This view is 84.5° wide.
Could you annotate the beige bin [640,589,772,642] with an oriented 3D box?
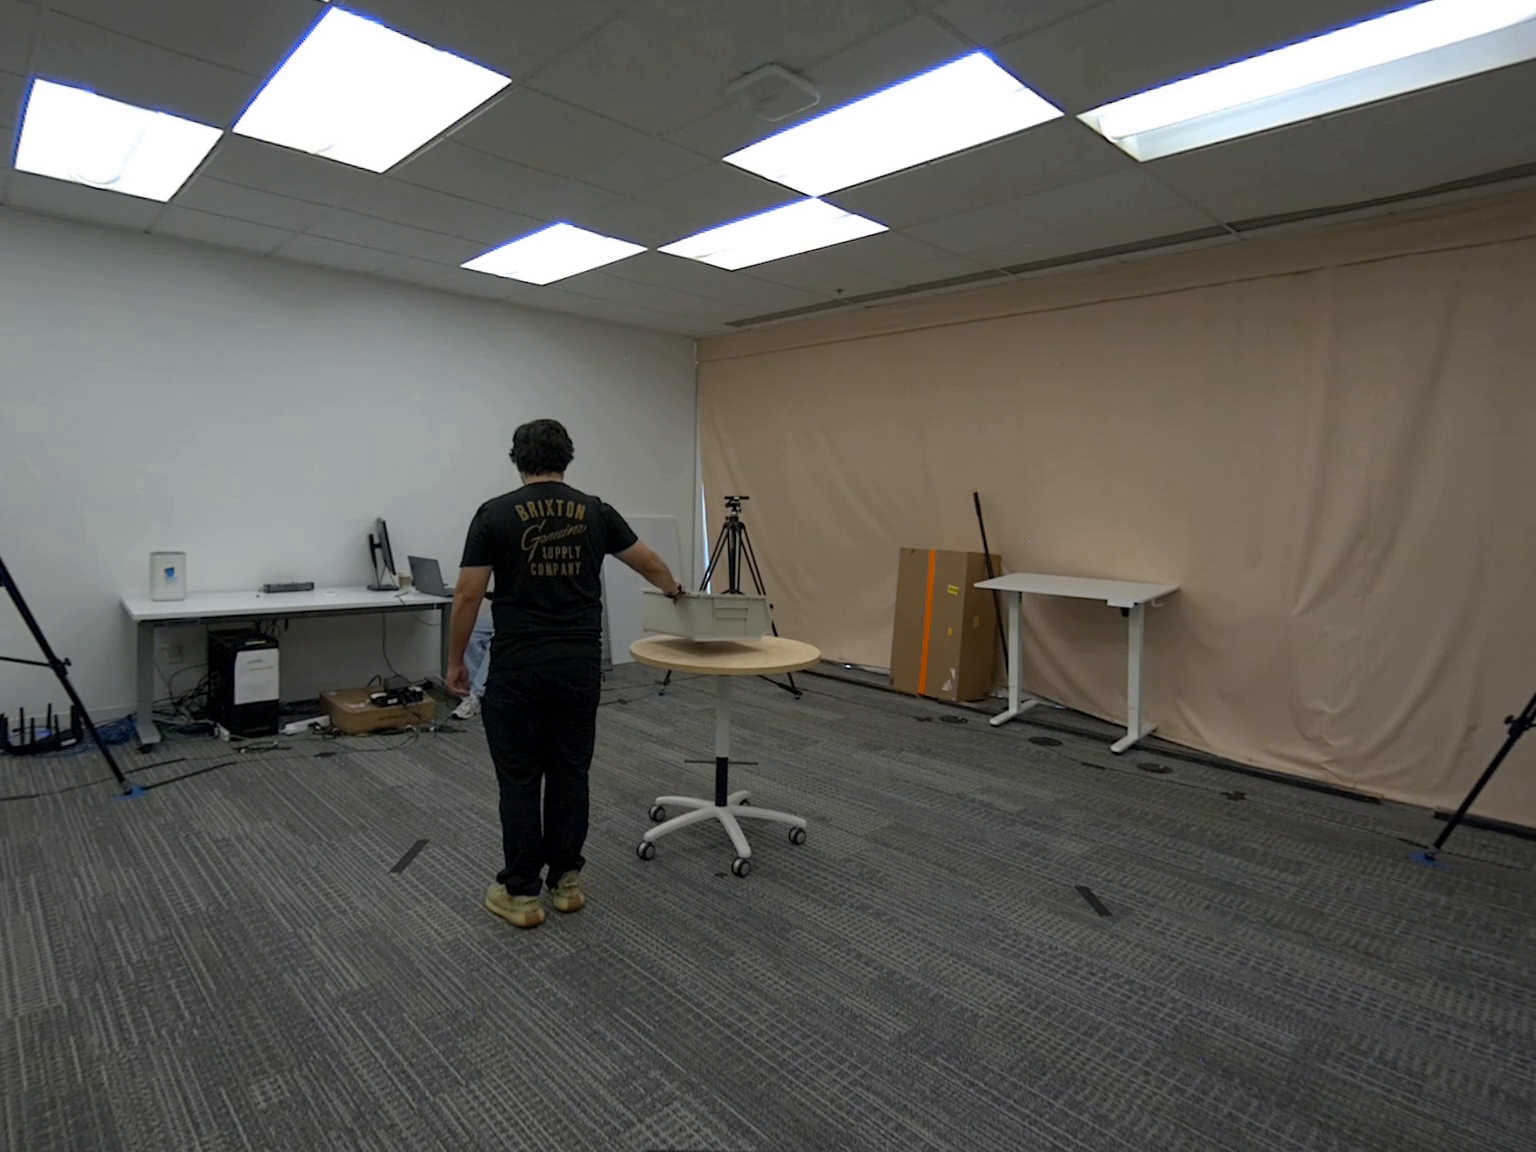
[{"bbox_3d":[-0.259,0.157,3.421,0.368,0.189,0.432,3,1,-38],"label":"beige bin"}]
